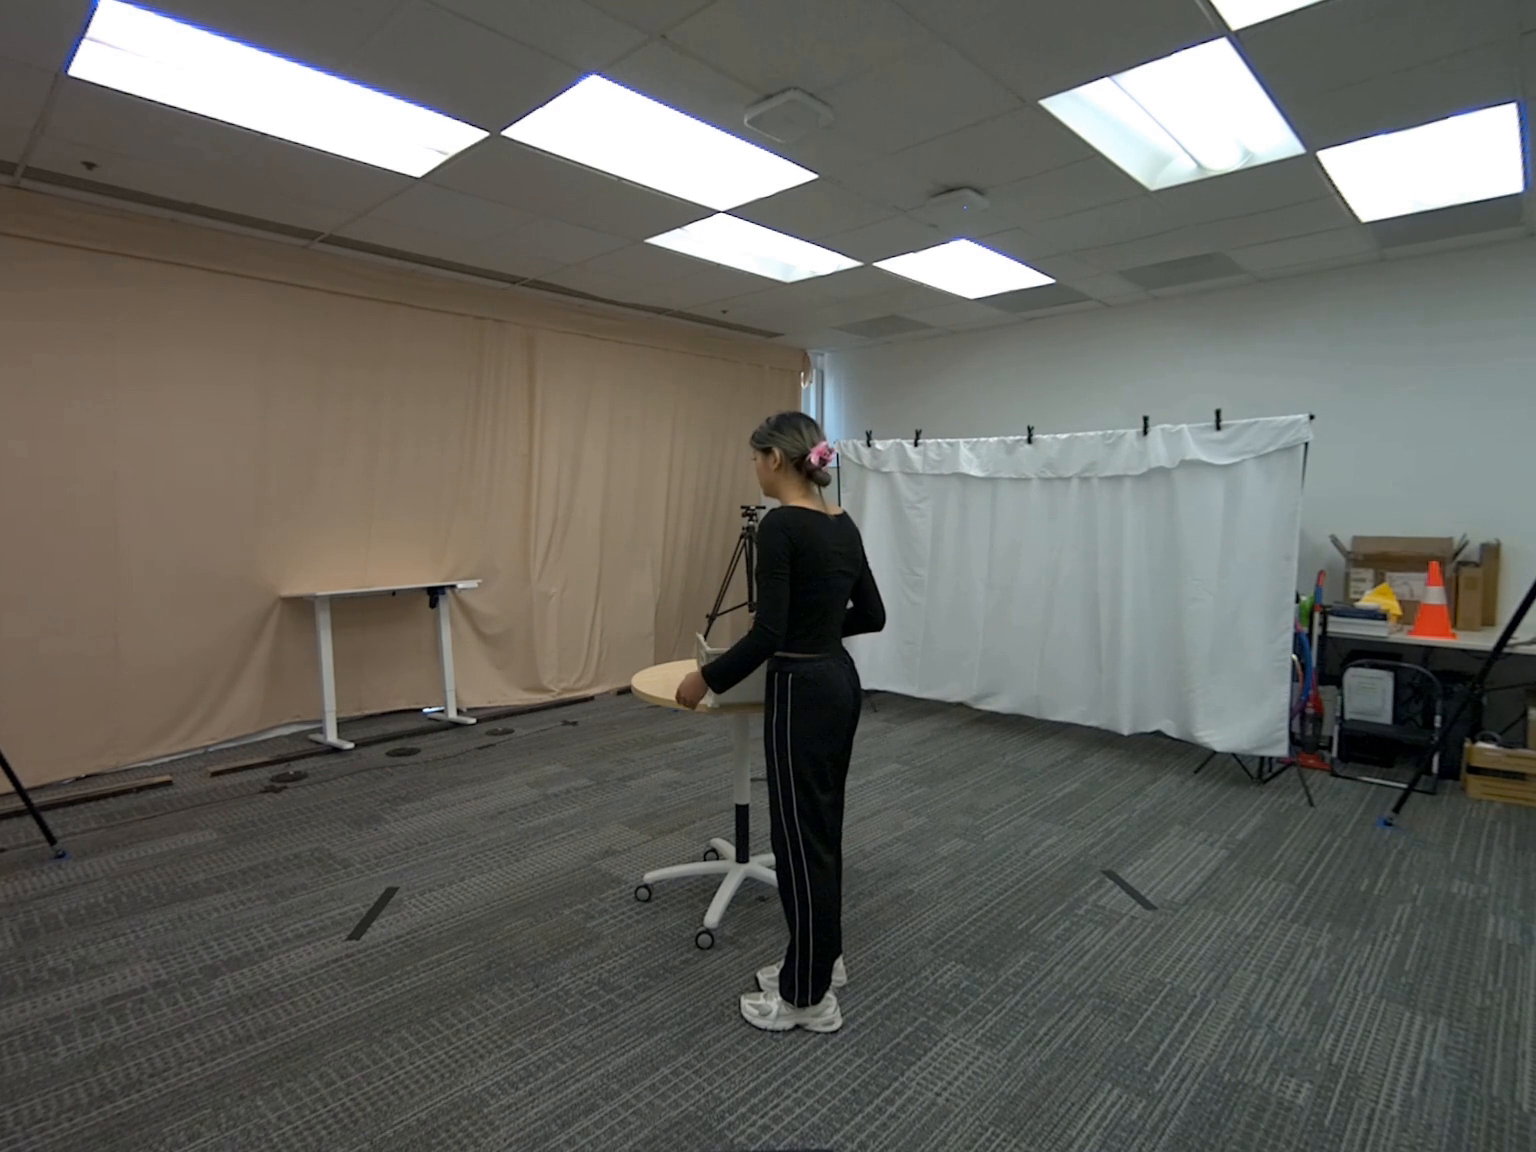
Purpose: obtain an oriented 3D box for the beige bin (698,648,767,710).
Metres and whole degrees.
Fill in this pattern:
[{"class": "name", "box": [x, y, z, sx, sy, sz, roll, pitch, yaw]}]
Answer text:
[{"class": "beige bin", "box": [-0.008, 0.286, 2.707, 0.419, 0.188, 0.382, -1, 5, -9]}]
